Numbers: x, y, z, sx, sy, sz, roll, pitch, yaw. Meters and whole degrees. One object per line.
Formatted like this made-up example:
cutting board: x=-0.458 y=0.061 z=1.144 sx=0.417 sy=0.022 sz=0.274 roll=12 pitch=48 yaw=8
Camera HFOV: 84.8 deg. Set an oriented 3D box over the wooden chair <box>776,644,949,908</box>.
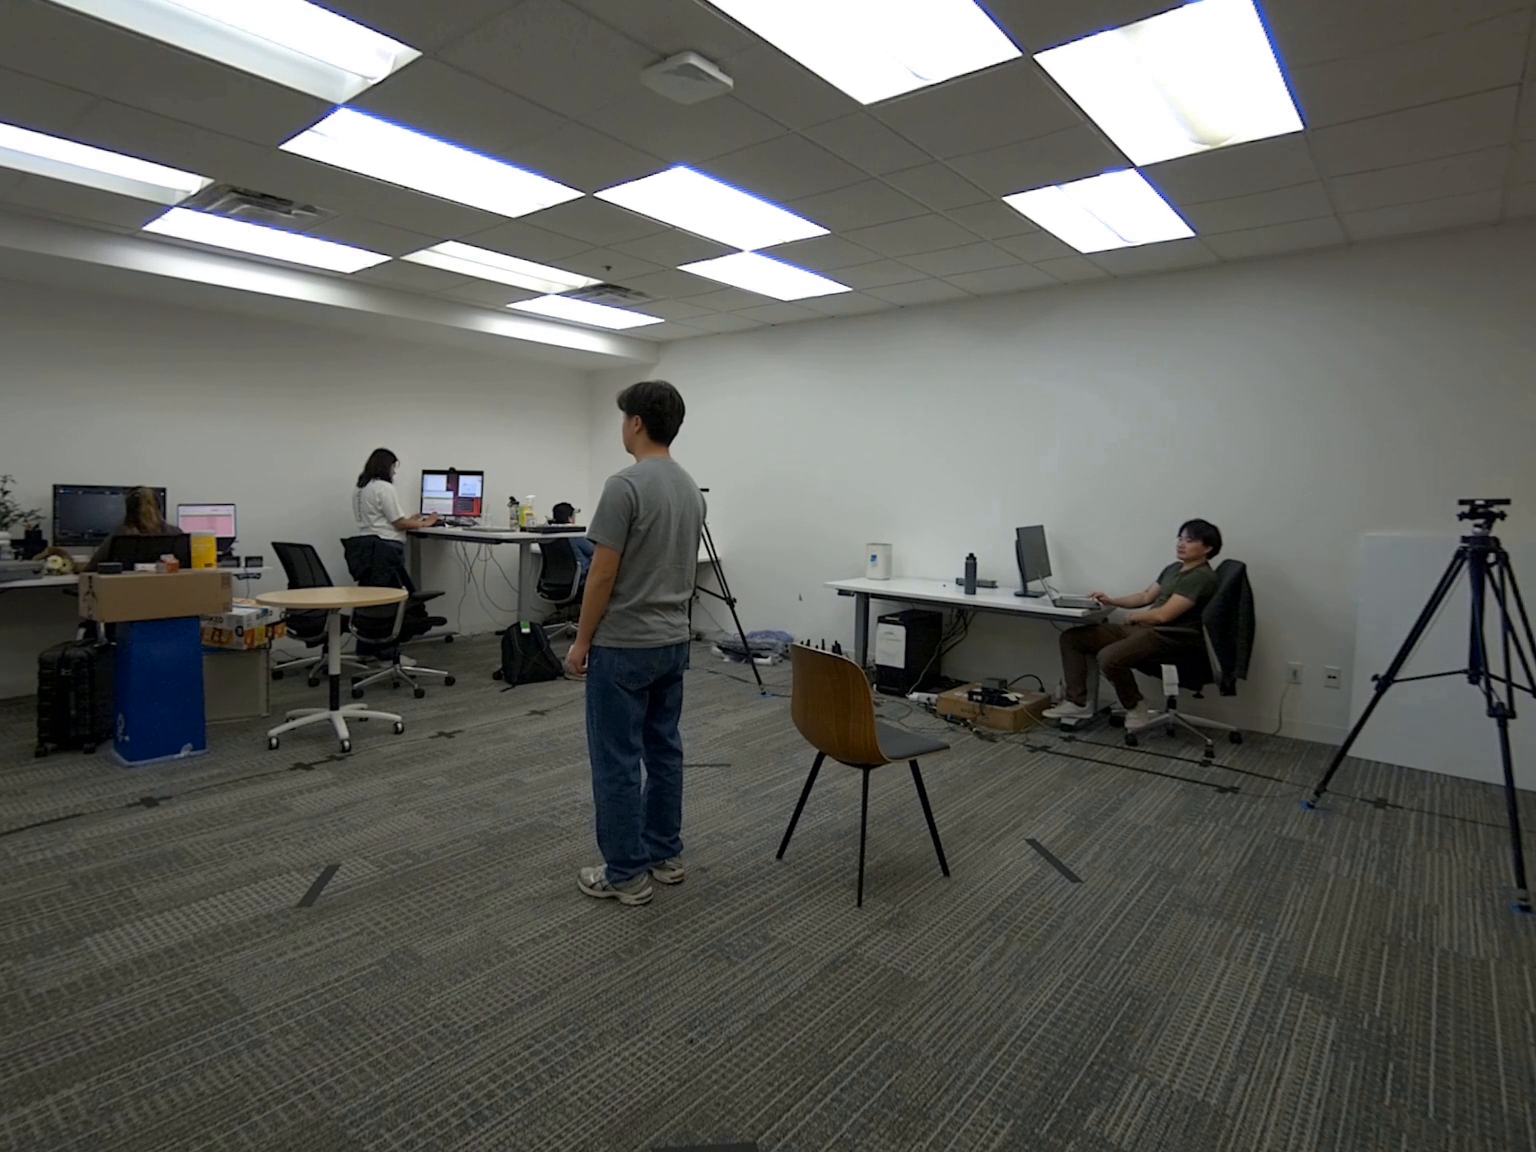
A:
wooden chair: x=0.355 y=0.656 z=3.129 sx=0.509 sy=0.872 sz=0.494 roll=-6 pitch=7 yaw=-36
